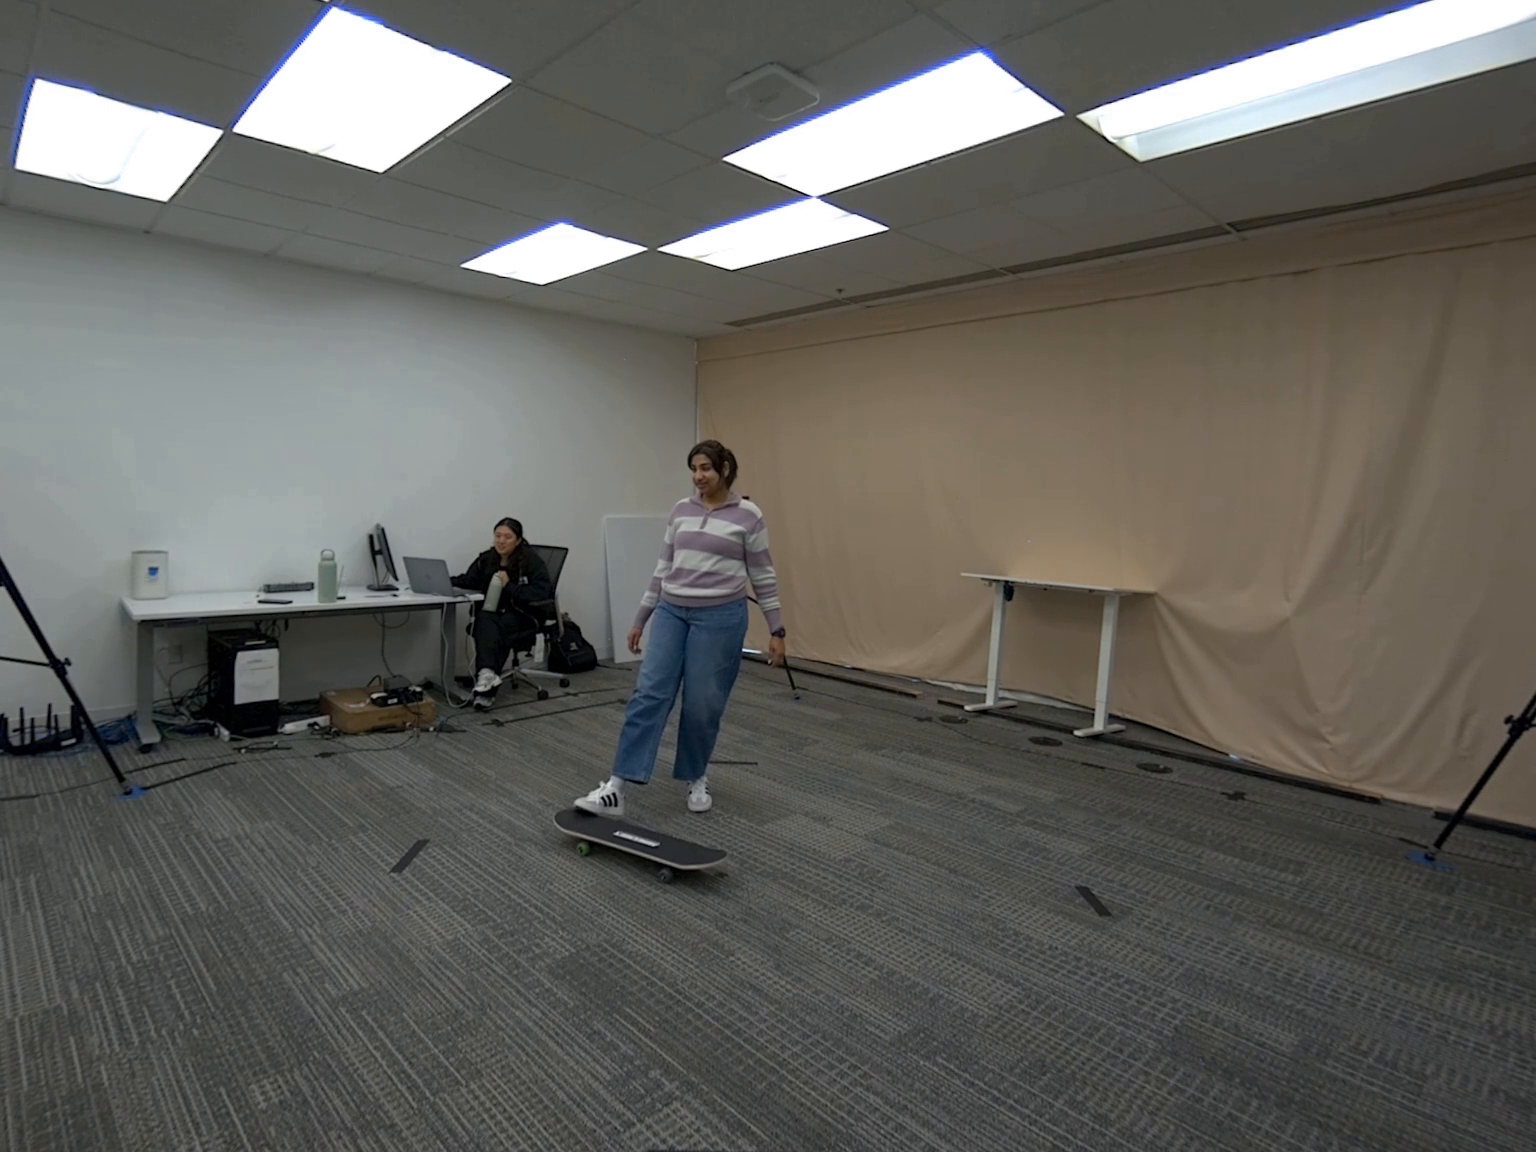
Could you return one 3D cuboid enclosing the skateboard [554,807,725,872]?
[{"bbox_3d":[-0.510,1.033,3.201,0.803,0.110,0.190,4,5,31],"label":"skateboard"}]
